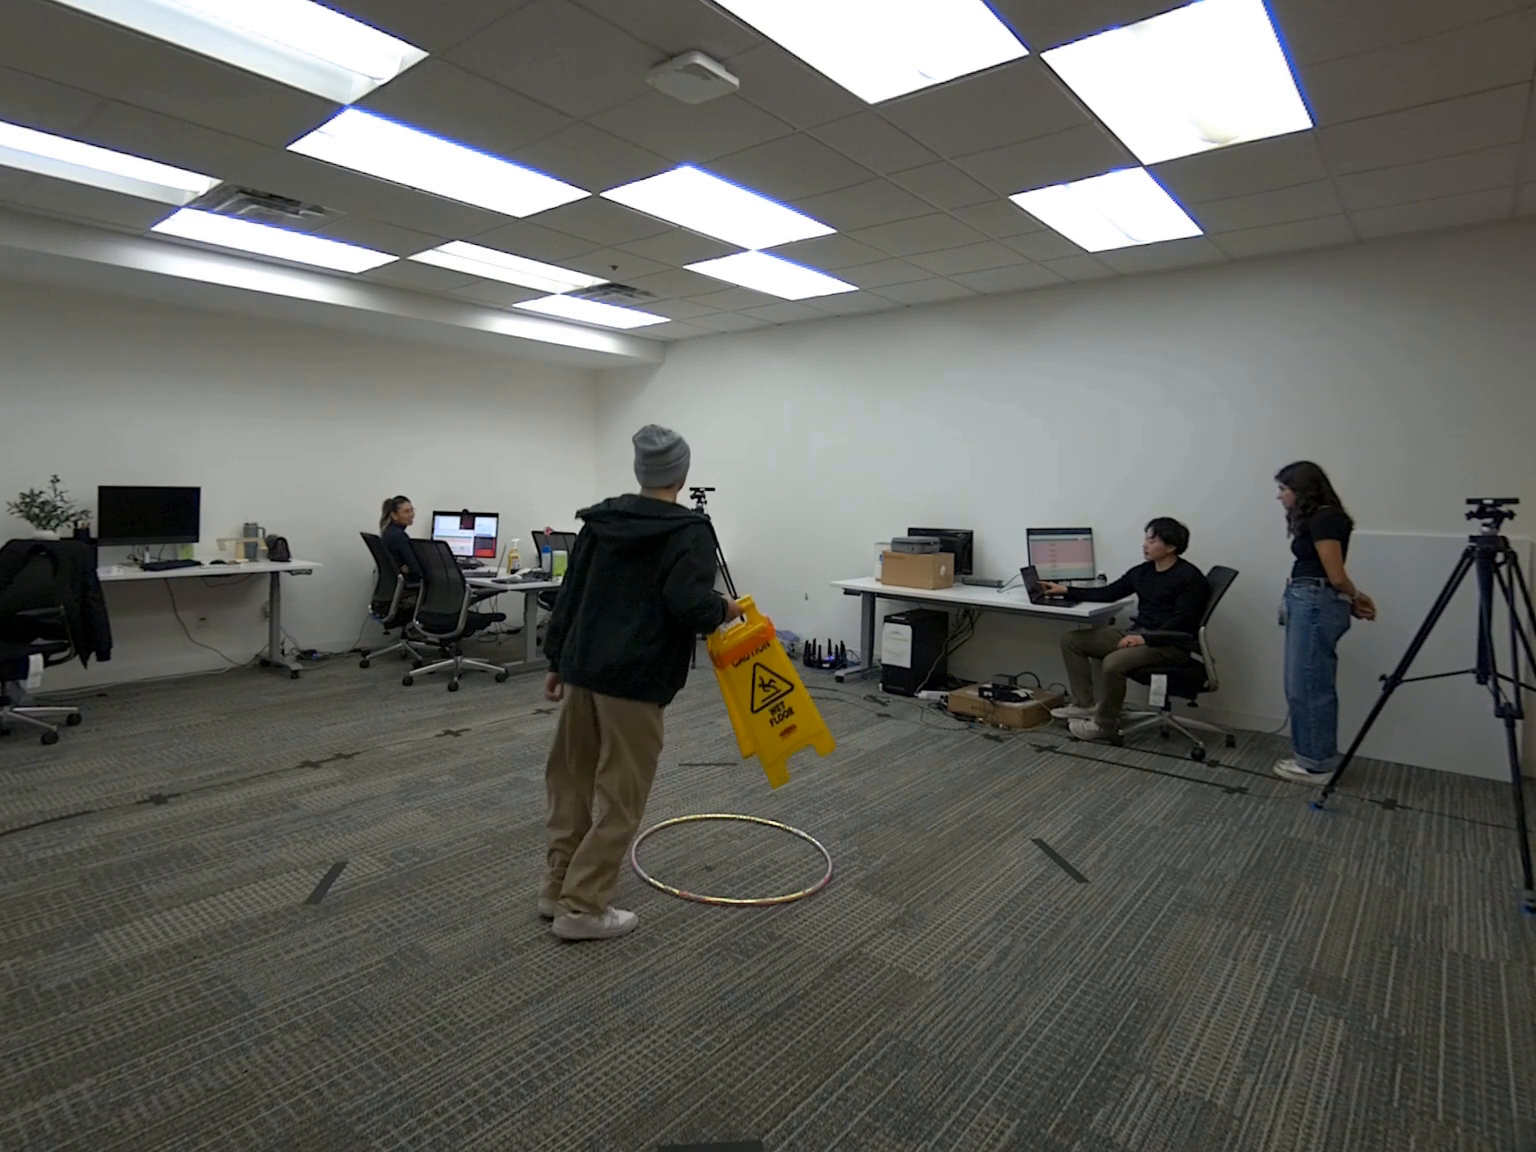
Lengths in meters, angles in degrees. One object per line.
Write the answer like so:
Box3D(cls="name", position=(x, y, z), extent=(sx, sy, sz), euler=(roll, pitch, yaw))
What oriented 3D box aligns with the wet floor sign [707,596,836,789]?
Box3D(cls="wet floor sign", position=(-0.046, 0.366, 2.994), extent=(0.280, 0.630, 0.299), euler=(-26, 22, -16))
